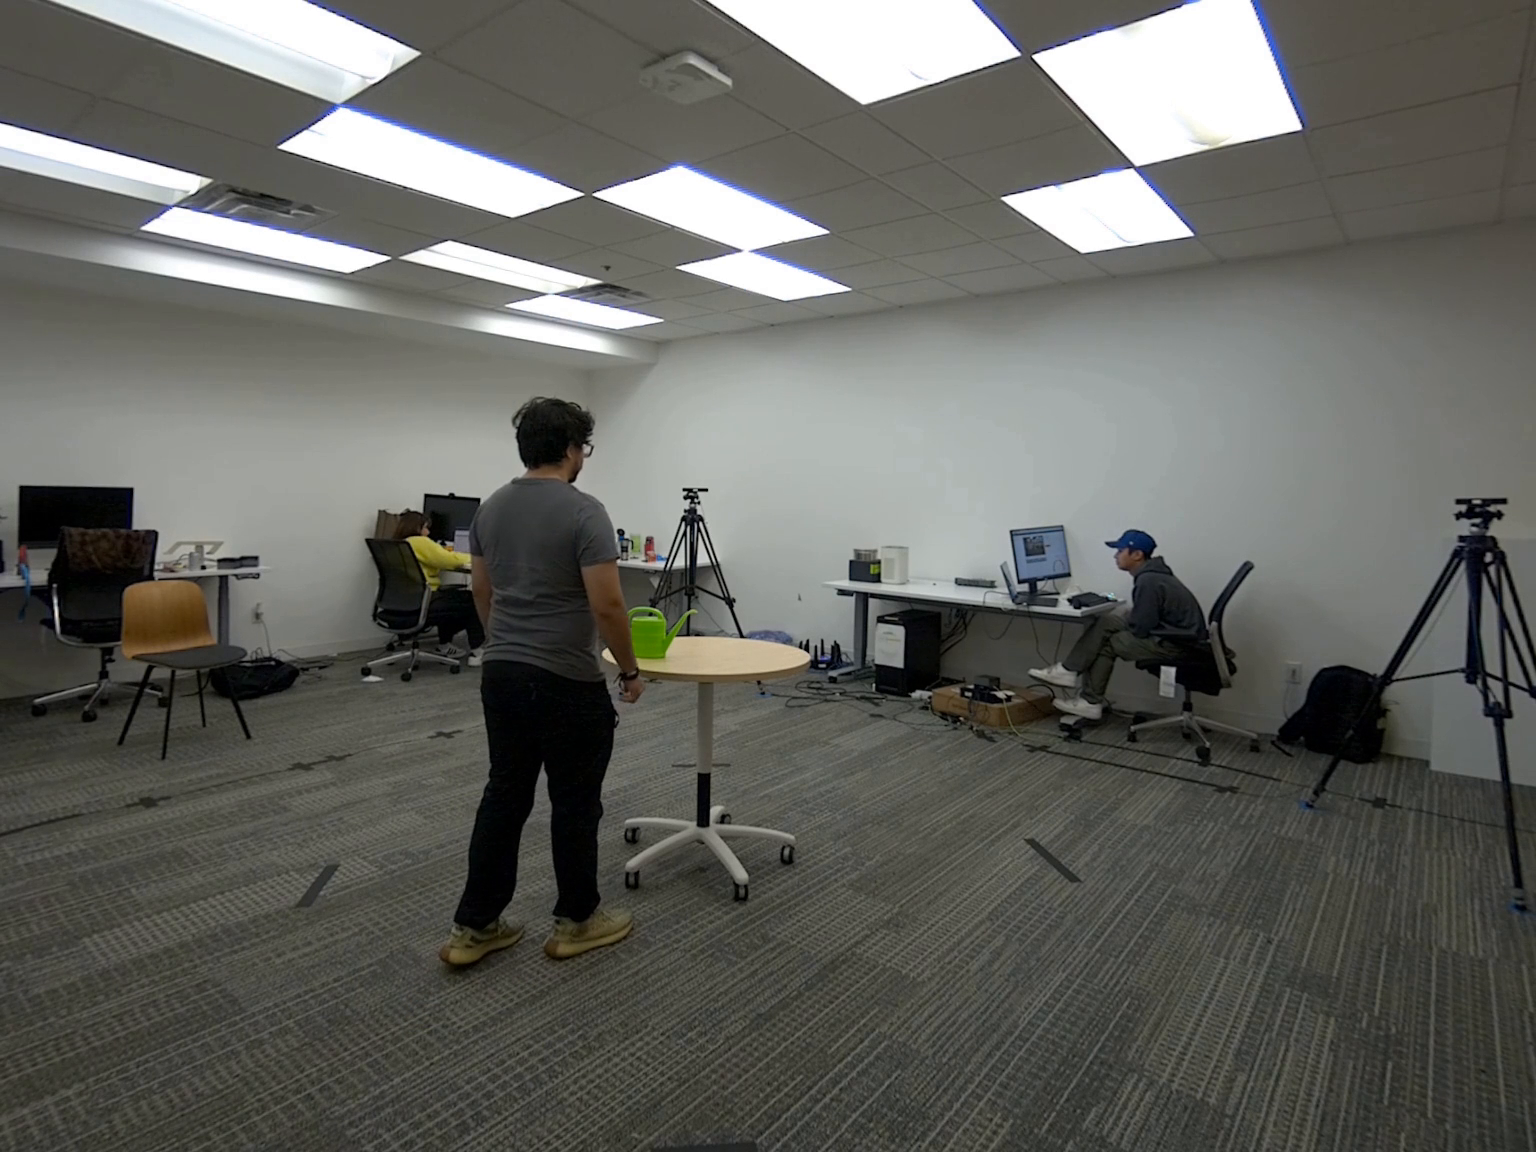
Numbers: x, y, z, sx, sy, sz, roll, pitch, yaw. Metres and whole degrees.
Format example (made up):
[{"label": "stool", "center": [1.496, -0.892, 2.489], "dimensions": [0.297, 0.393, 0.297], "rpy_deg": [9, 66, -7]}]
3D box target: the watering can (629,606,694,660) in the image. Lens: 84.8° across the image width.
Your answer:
[{"label": "watering can", "center": [-0.404, 0.201, 3.028], "dimensions": [0.286, 0.176, 0.095], "rpy_deg": [2, 5, 31]}]
